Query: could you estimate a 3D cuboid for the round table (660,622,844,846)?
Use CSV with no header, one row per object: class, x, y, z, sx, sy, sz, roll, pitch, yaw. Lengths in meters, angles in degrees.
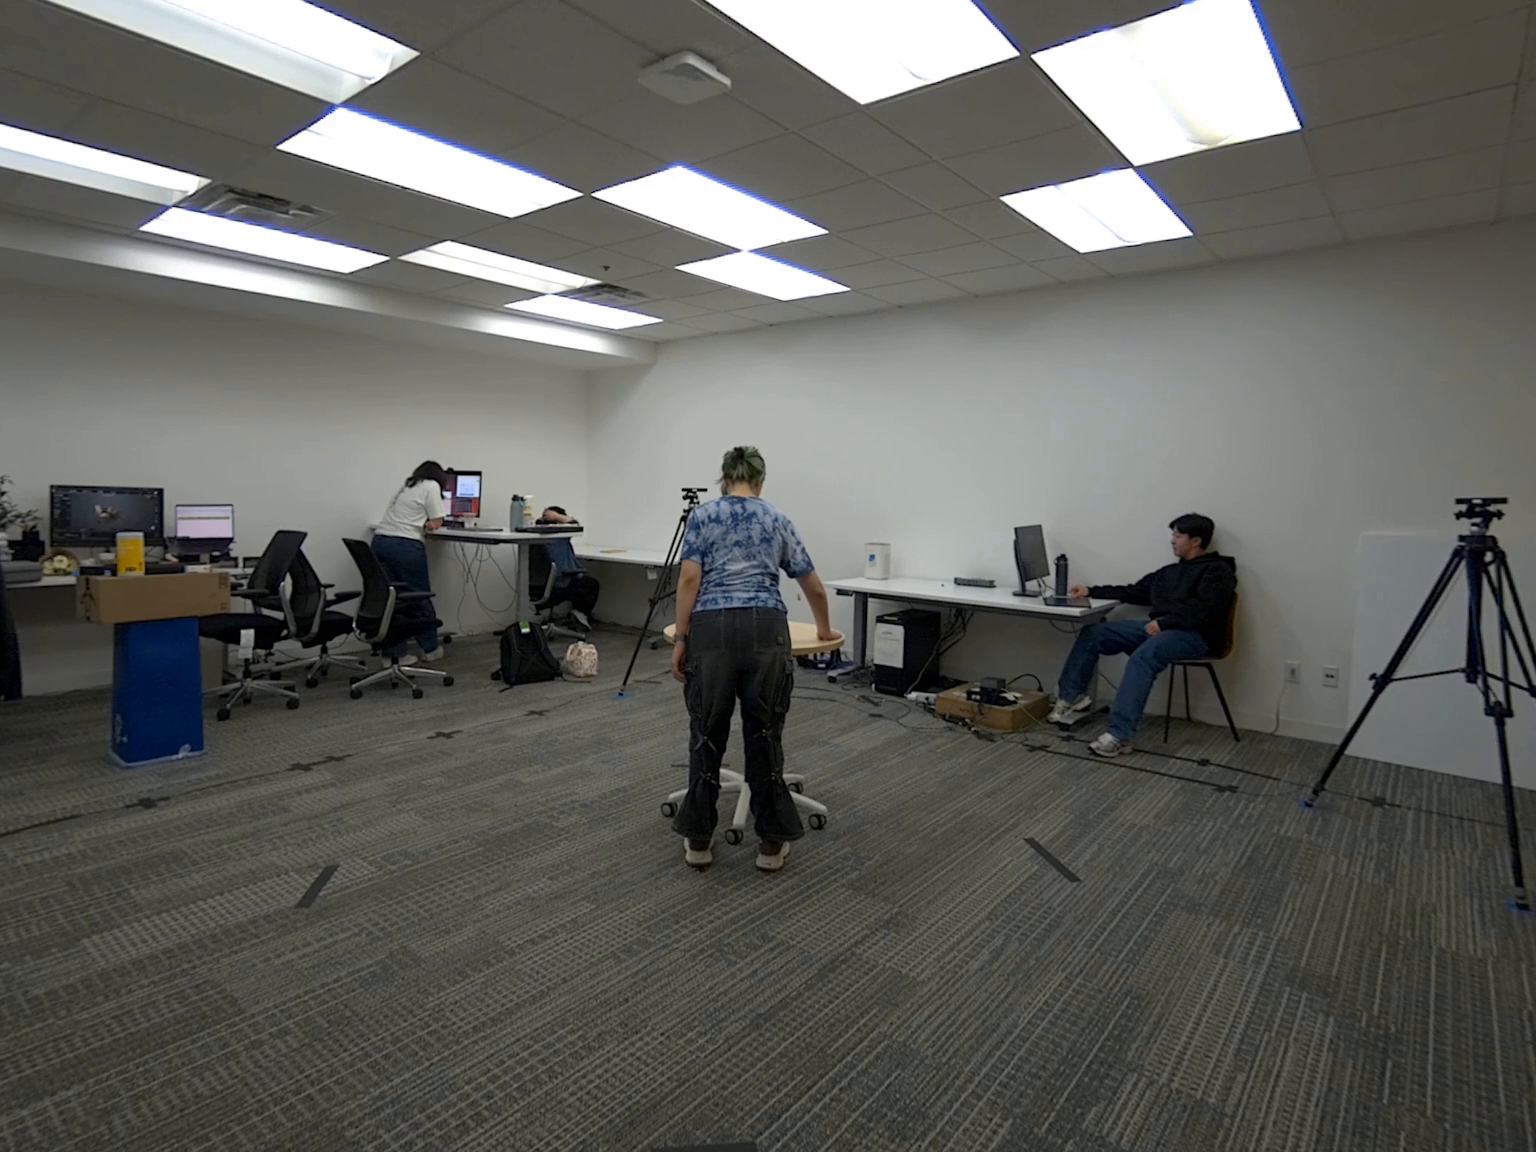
round table,-0.069,0.625,3.628,0.784,0.784,0.789,1,4,-2
